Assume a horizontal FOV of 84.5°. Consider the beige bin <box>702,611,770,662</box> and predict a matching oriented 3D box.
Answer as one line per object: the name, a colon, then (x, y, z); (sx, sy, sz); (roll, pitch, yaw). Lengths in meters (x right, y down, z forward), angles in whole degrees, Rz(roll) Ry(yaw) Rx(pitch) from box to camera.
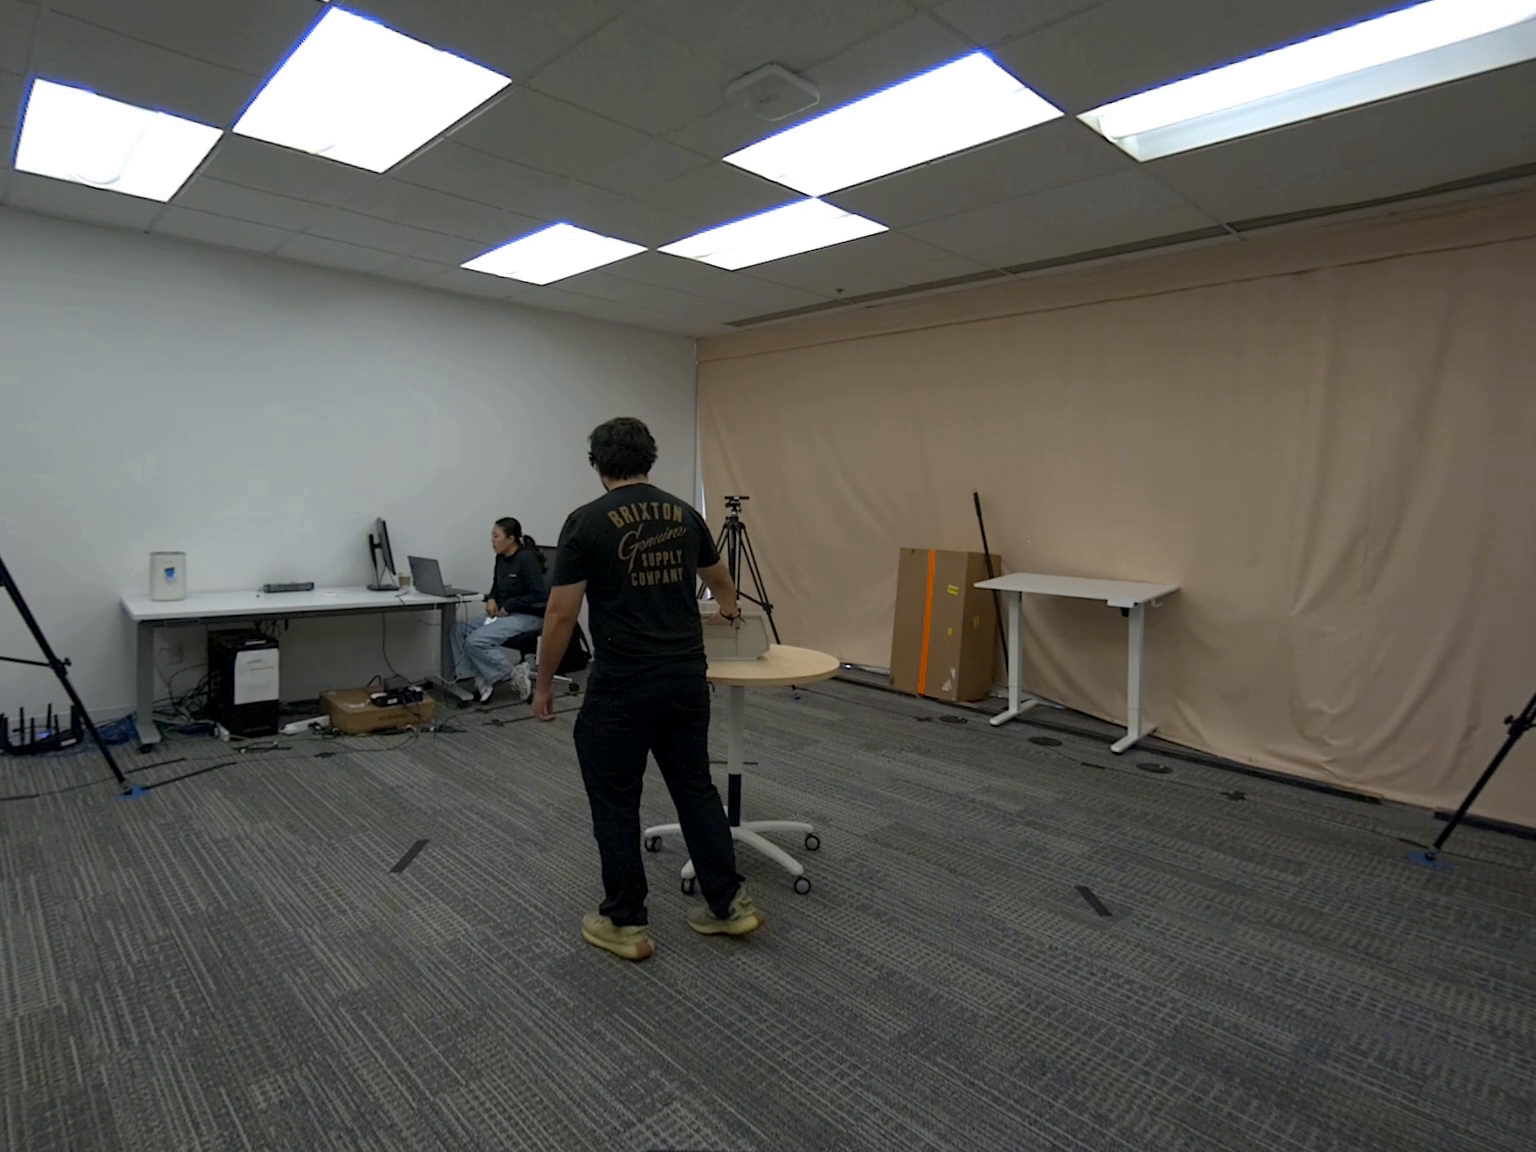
beige bin: (-0.221, 0.202, 3.320); (0.374, 0.188, 0.428); (0, 8, -11)
